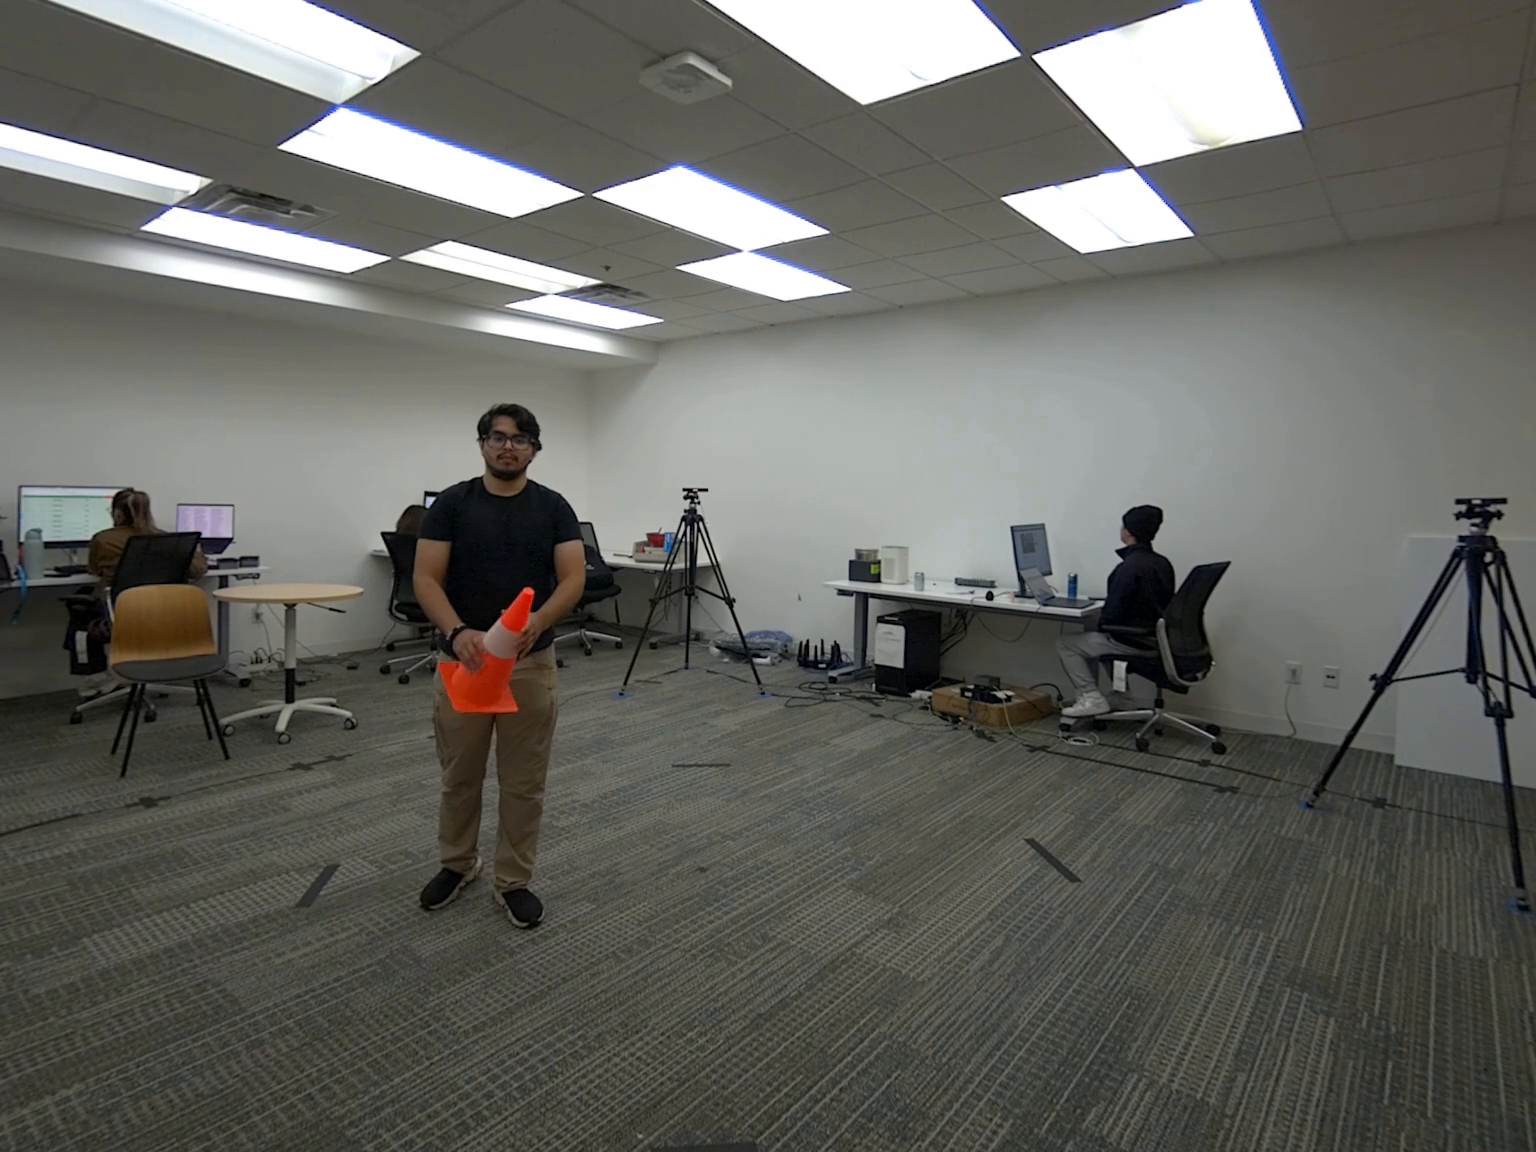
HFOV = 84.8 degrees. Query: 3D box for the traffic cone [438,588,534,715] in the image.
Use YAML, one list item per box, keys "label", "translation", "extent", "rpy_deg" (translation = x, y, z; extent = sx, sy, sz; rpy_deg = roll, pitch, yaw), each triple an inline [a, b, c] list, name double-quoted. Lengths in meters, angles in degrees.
- label: "traffic cone"
  translation: [-0.780, 0.188, 2.391]
  extent: [0.196, 0.381, 0.213]
  rpy_deg: [9, 35, -37]
